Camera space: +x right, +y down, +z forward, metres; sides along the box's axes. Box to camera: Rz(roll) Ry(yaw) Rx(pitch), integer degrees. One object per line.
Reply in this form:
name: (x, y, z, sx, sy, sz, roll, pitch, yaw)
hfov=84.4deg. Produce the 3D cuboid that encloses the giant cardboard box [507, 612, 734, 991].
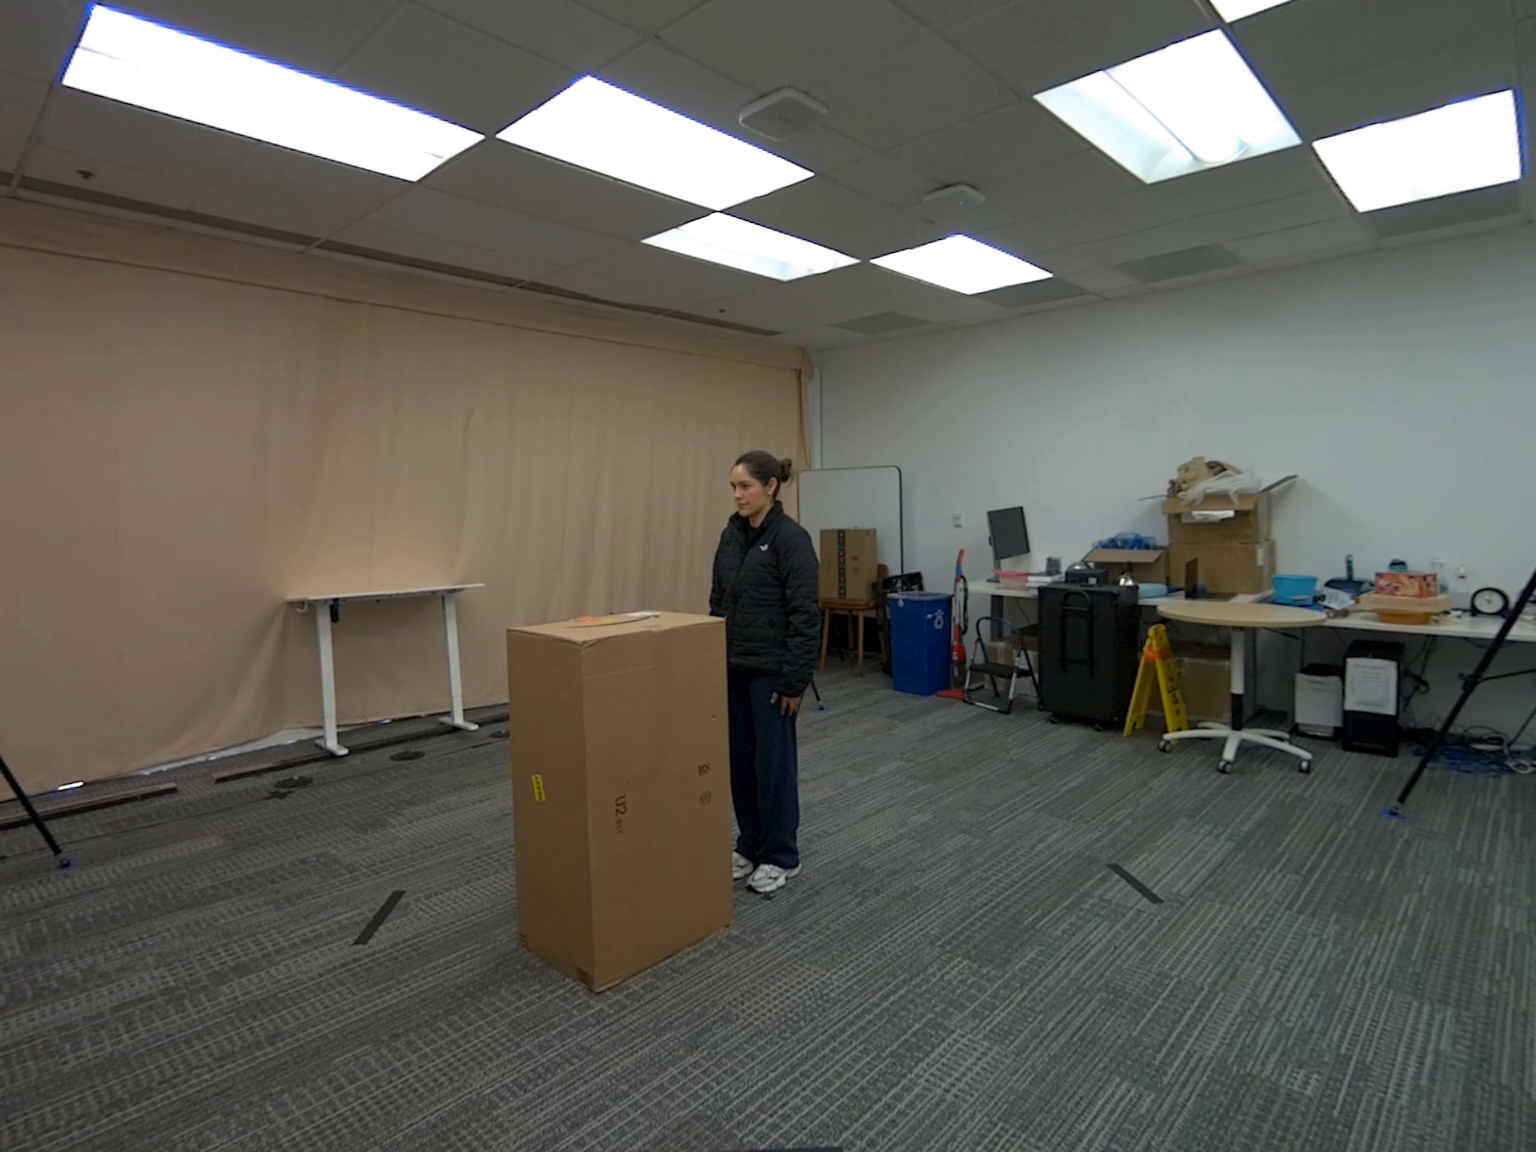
giant cardboard box: (-0.461, 0.663, 2.729, 0.440, 1.024, 0.560, 2, 4, 44)
